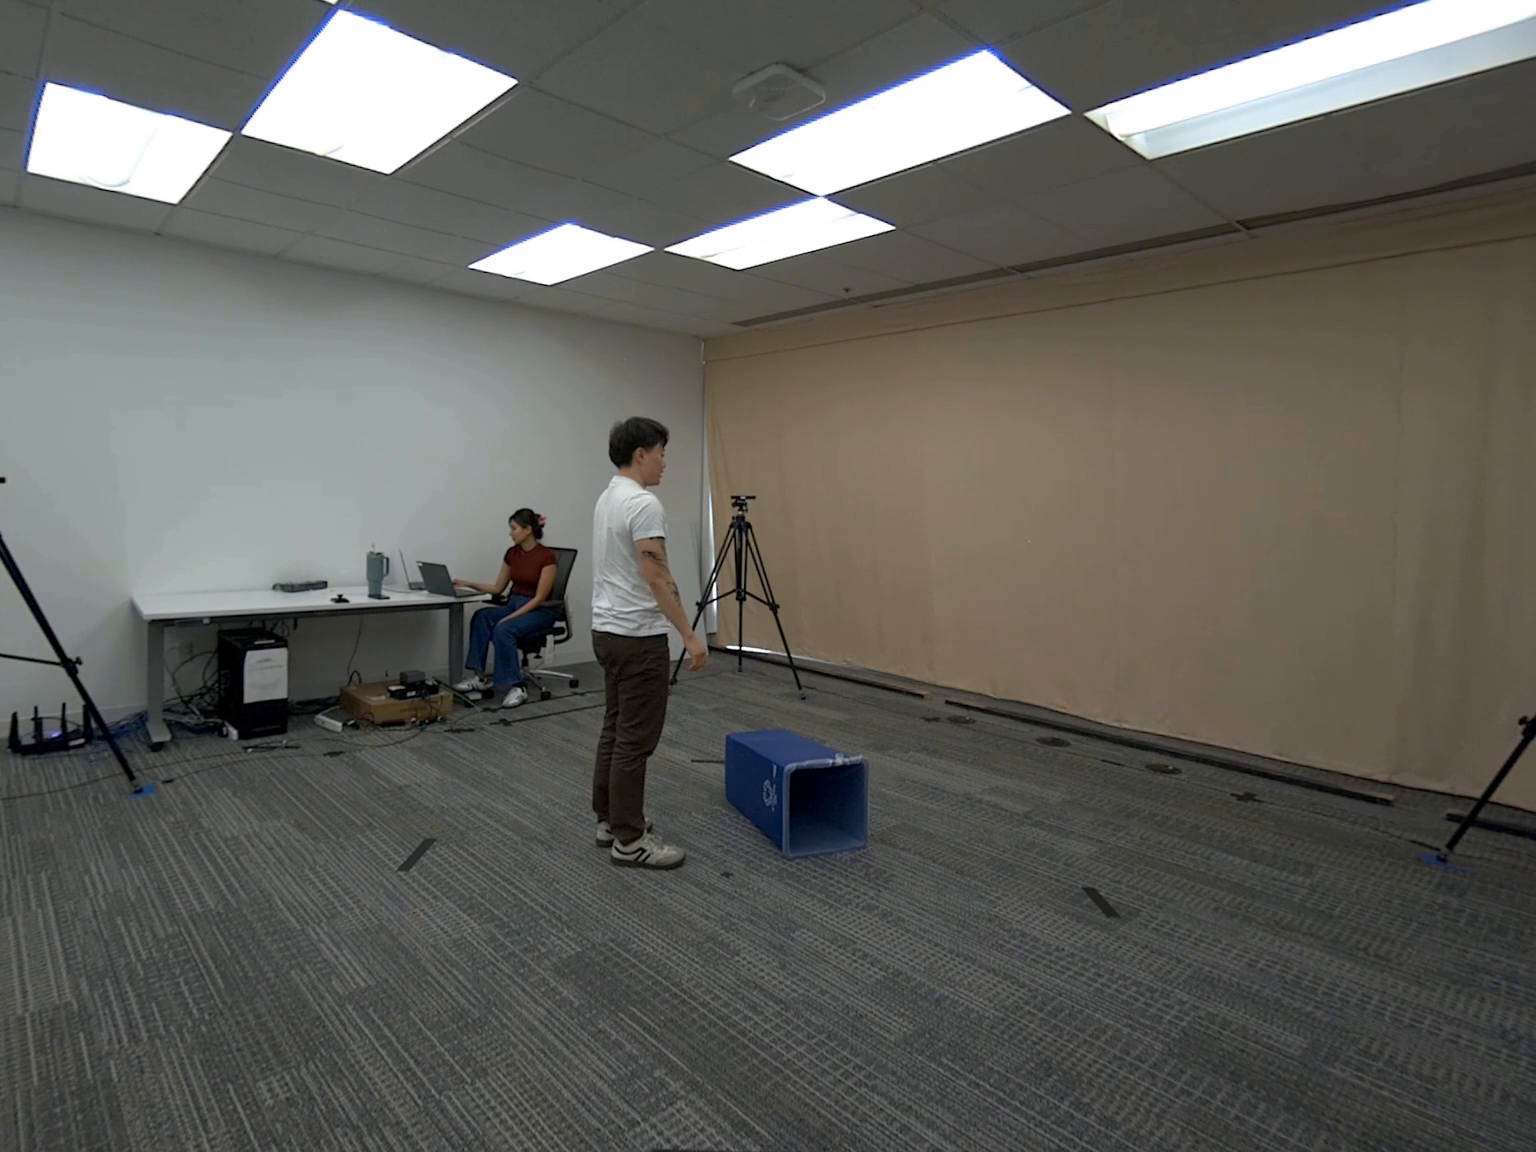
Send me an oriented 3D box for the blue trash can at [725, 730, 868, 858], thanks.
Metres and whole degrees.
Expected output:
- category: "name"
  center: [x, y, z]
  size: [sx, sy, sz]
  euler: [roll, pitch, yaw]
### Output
- category: "blue trash can"
  center: [0.075, 0.898, 3.623]
  size: [0.367, 0.377, 0.727]
  euler: [-1, 3, -25]
